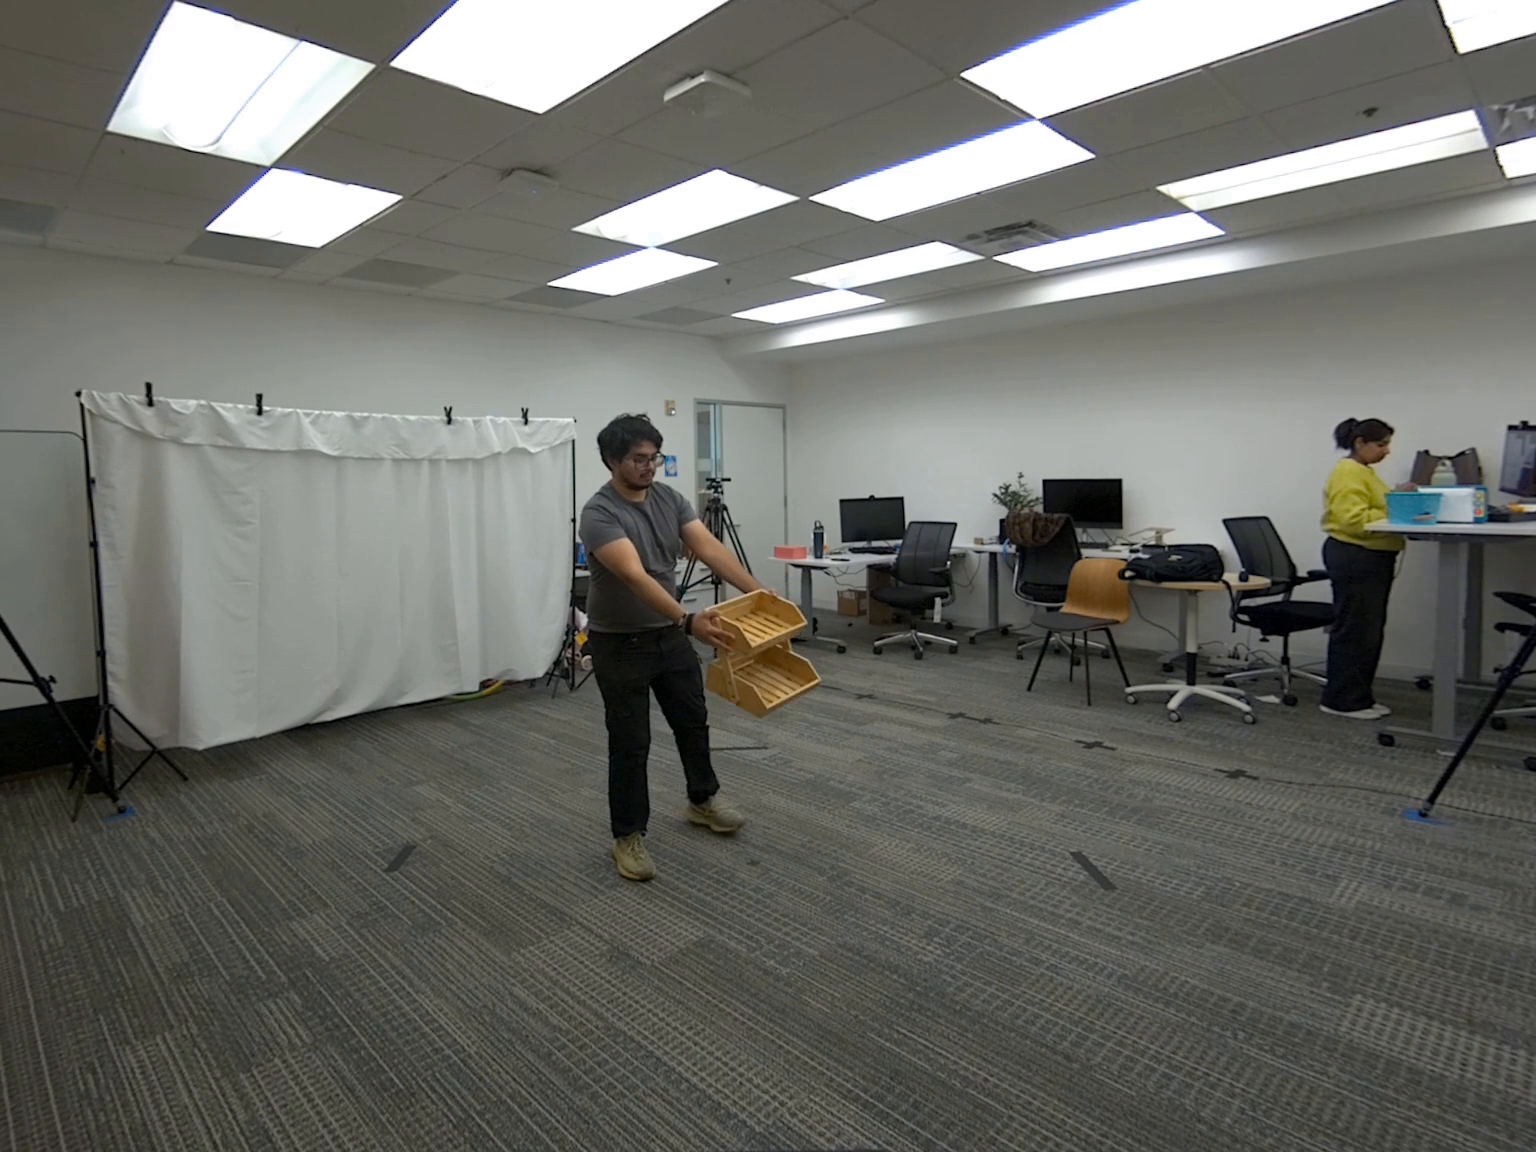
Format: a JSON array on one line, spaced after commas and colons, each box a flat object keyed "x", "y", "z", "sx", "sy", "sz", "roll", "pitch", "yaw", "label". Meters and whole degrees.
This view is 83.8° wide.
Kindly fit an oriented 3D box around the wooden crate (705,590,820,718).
[{"x": -0.010, "y": 0.249, "z": 2.780, "sx": 0.312, "sy": 0.269, "sz": 0.318, "roll": 22, "pitch": 24, "yaw": 33, "label": "wooden crate"}]
